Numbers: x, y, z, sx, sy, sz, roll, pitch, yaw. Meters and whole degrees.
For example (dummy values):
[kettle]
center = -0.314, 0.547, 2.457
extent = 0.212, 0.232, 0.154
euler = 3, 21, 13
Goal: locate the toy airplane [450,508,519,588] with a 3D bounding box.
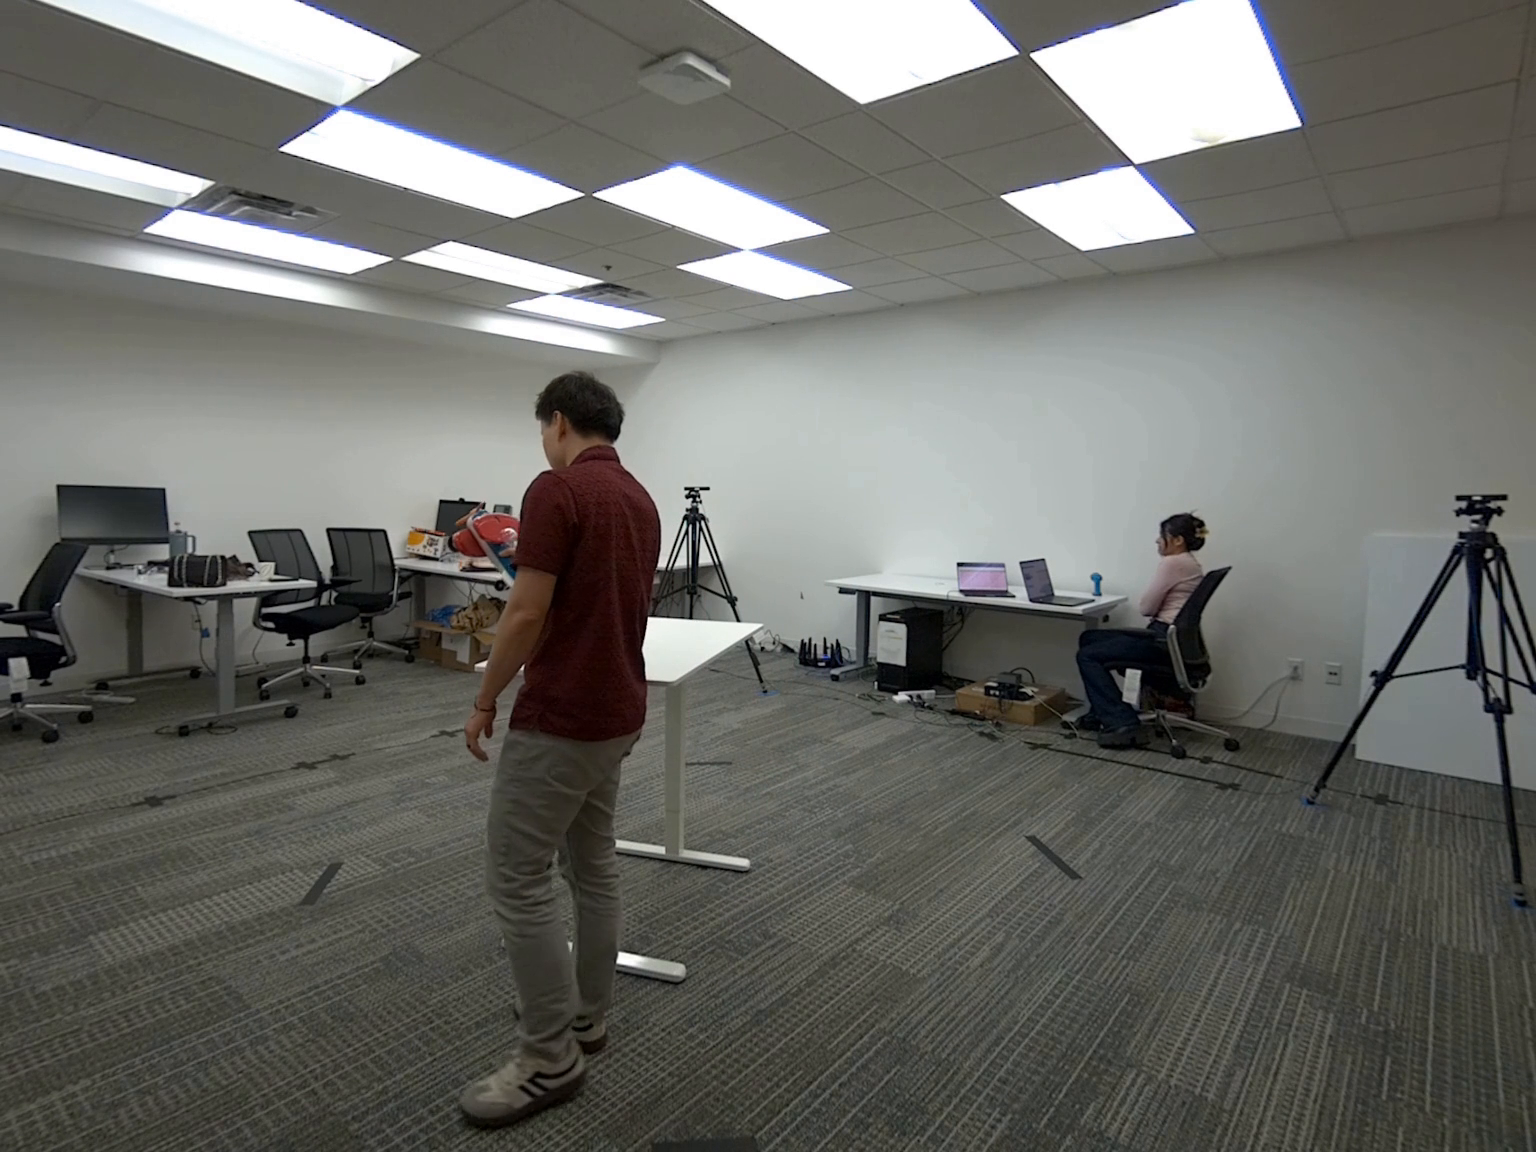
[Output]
[toy airplane]
center = -0.820, -0.087, 2.542
extent = 0.252, 0.156, 0.258
euler = 38, 10, -22
